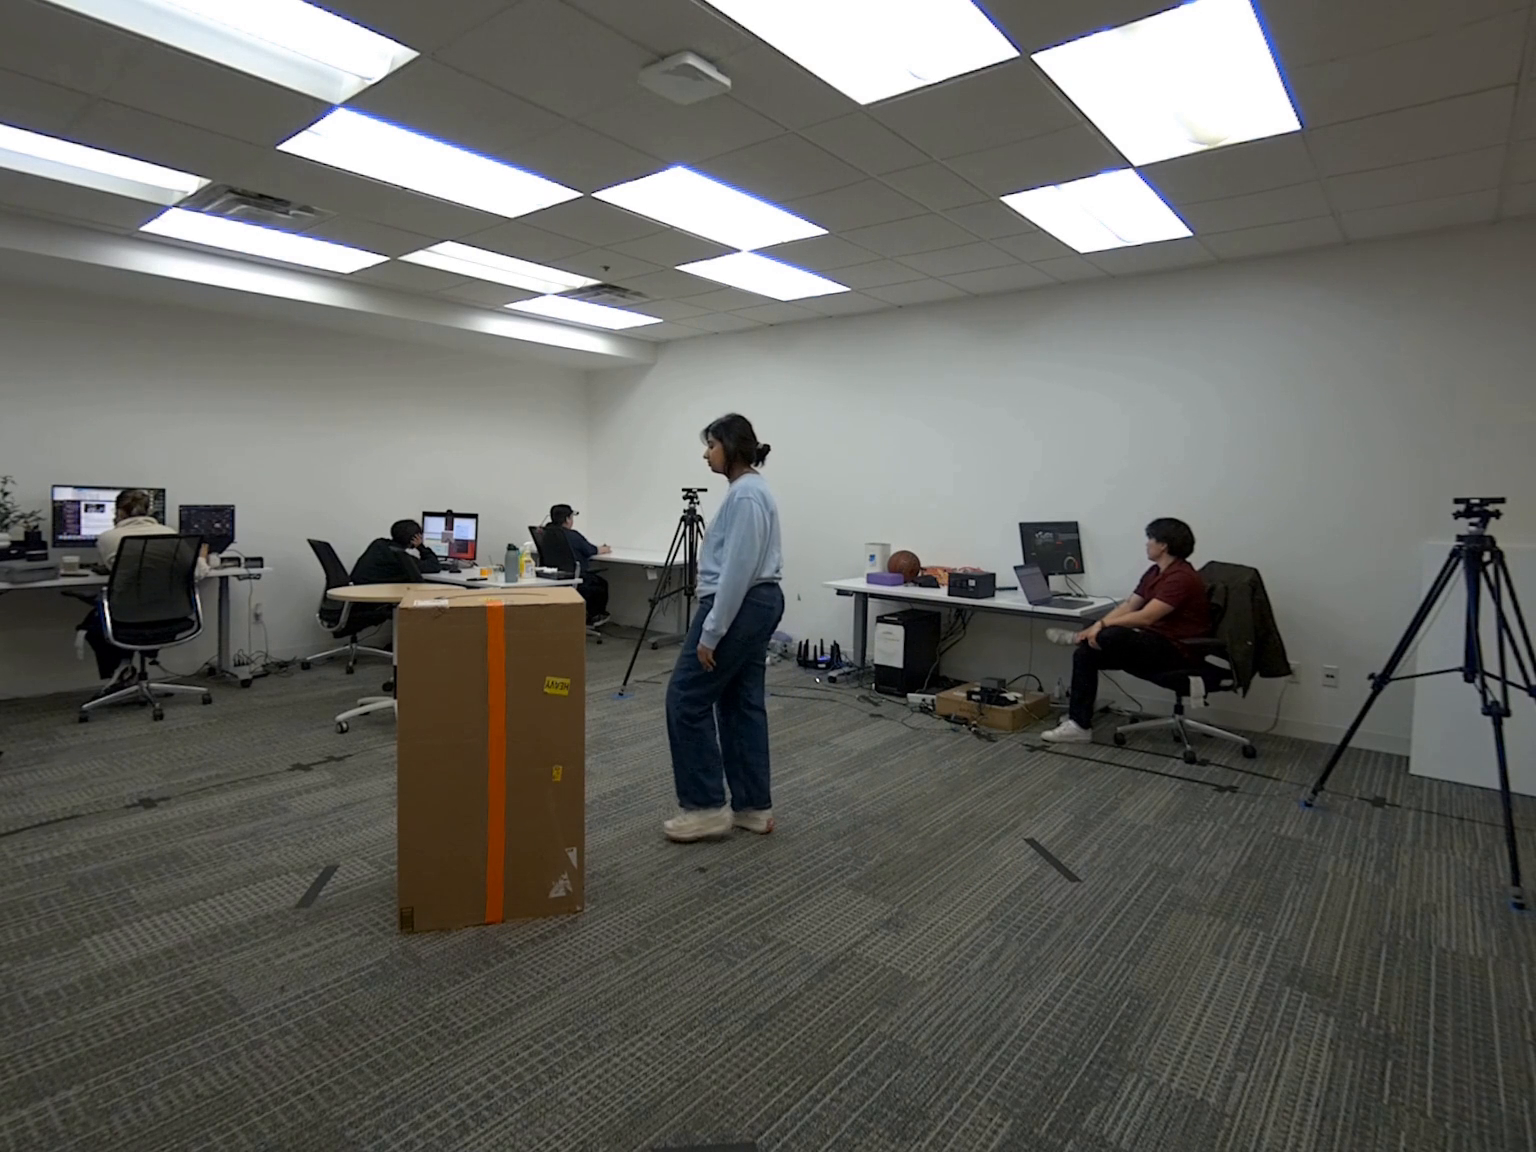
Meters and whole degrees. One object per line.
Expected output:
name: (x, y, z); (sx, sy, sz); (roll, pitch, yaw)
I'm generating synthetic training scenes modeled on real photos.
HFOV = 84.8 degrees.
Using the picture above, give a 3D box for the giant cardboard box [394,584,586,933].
giant cardboard box: (-0.945, 0.574, 2.870); (0.567, 1.022, 0.435); (-1, 4, -18)
